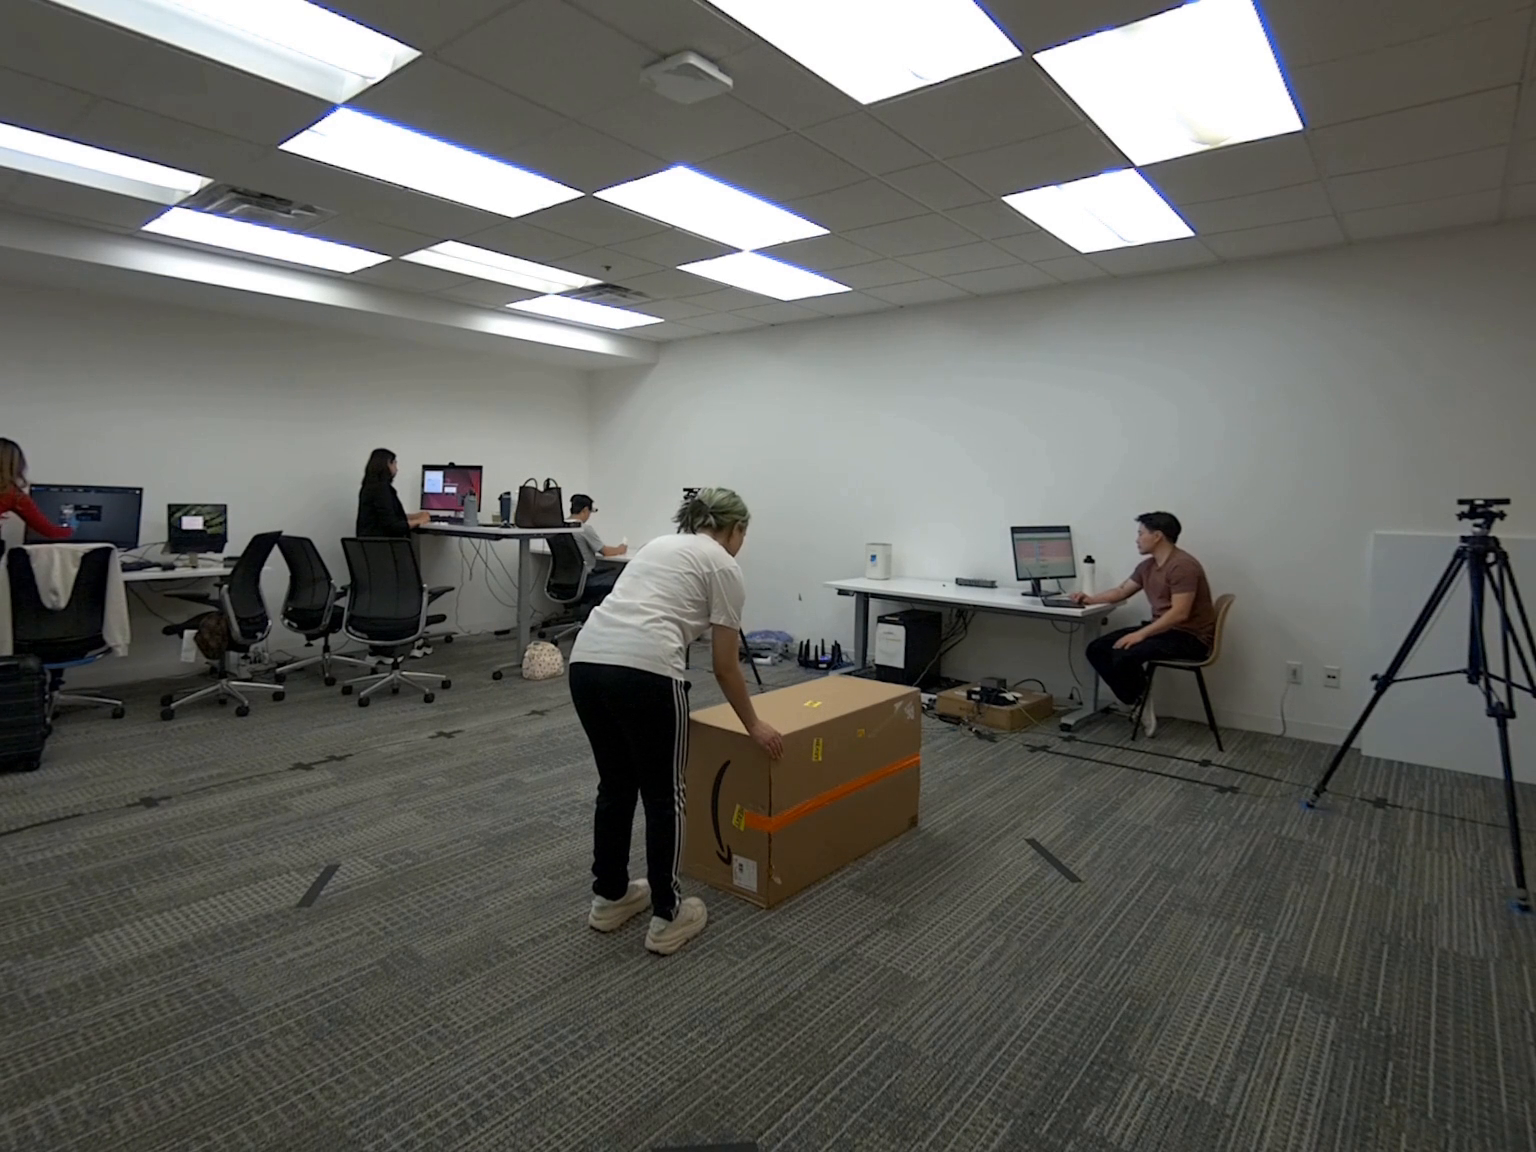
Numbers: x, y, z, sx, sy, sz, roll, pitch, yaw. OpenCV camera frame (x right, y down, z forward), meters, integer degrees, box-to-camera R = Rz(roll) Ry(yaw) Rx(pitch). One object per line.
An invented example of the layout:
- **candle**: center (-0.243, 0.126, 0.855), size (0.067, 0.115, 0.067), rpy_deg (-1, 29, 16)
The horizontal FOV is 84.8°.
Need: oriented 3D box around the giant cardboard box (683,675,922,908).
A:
- **giant cardboard box**: center (0.146, 0.768, 3.312), size (0.462, 0.581, 0.997), rpy_deg (5, 7, 39)
